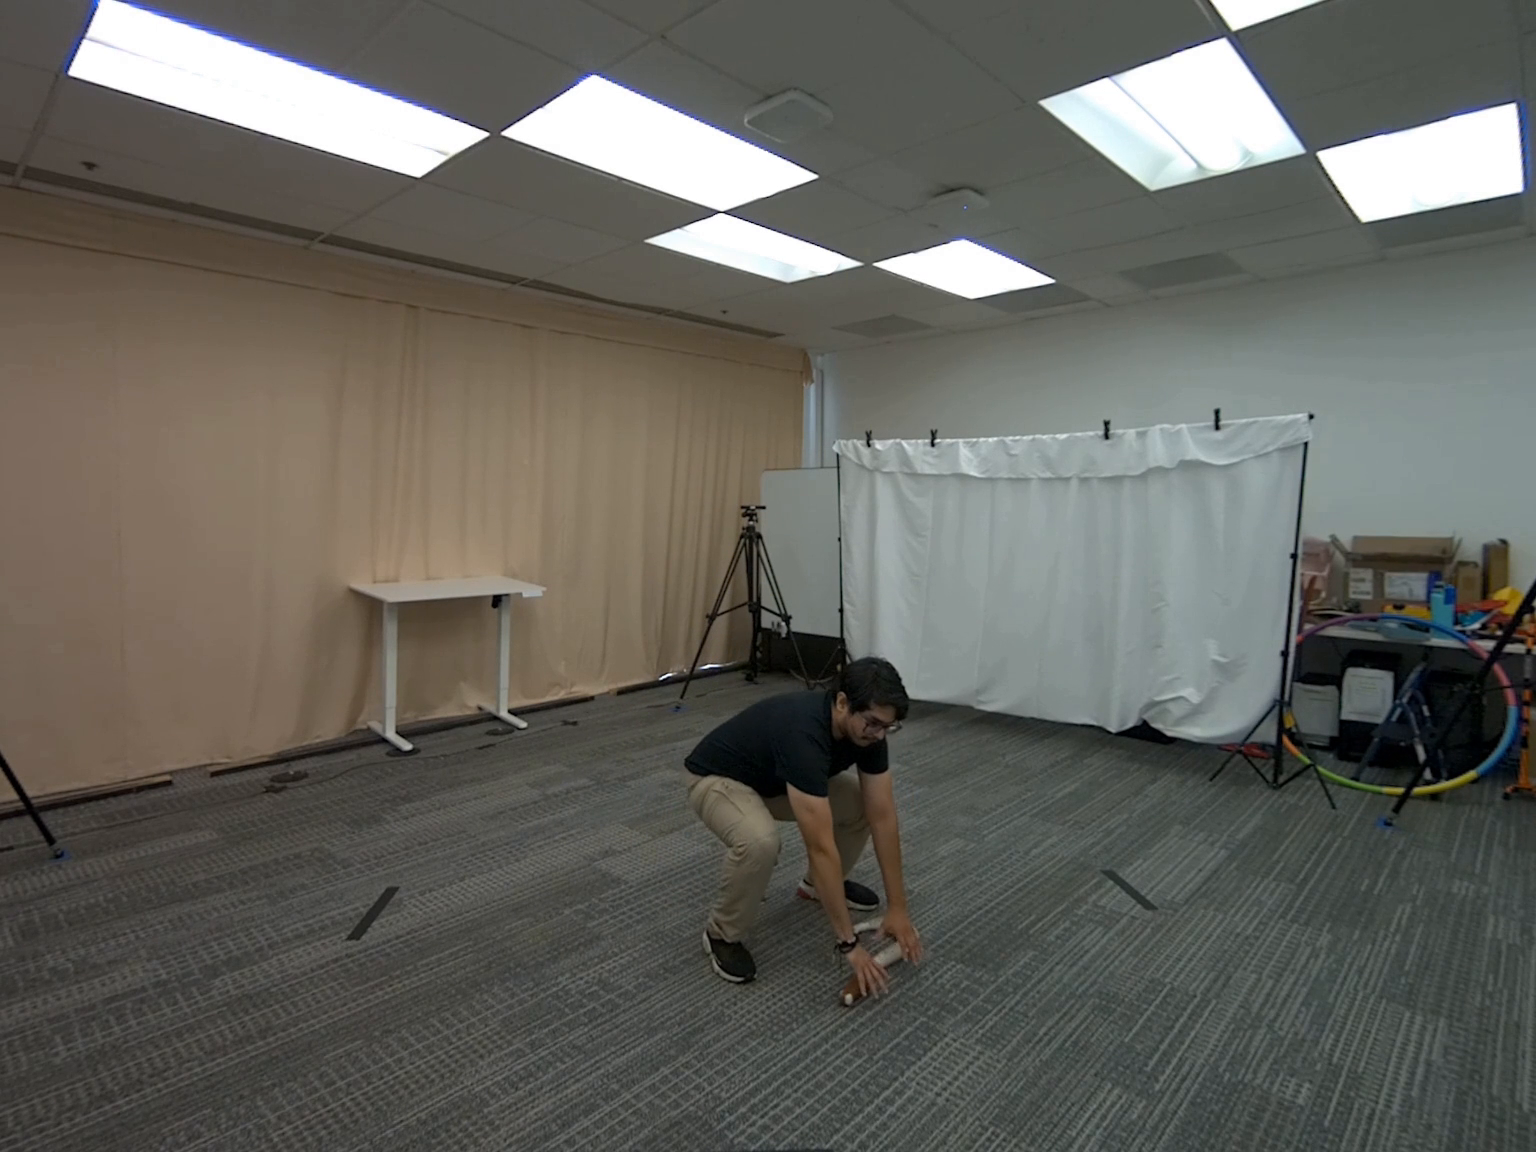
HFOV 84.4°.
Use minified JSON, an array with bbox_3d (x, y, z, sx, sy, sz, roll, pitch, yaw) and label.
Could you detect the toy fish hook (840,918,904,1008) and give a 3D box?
[{"bbox_3d":[0.293,1.161,2.568,0.231,0.048,0.492,-5,0,31],"label":"toy fish hook"}]
